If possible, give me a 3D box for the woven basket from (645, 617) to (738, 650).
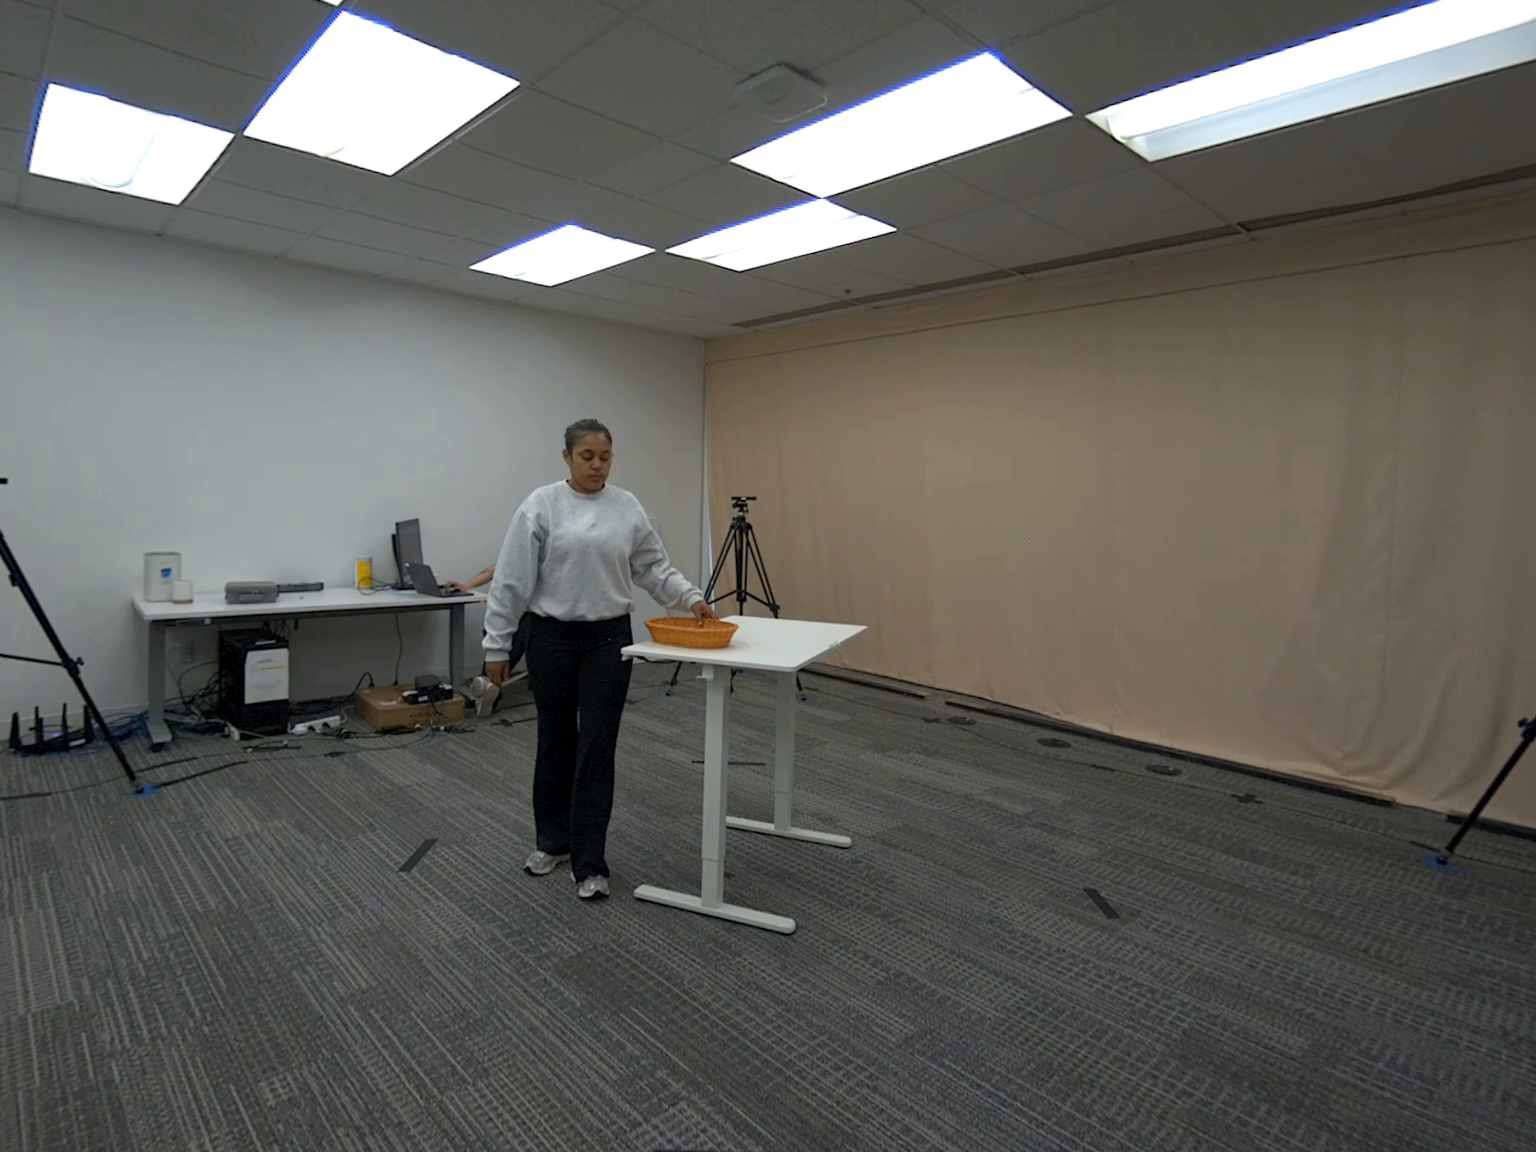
[{"bbox_3d":[-0.285,0.201,2.909,0.359,0.073,0.247,5,6,35],"label":"woven basket"}]
